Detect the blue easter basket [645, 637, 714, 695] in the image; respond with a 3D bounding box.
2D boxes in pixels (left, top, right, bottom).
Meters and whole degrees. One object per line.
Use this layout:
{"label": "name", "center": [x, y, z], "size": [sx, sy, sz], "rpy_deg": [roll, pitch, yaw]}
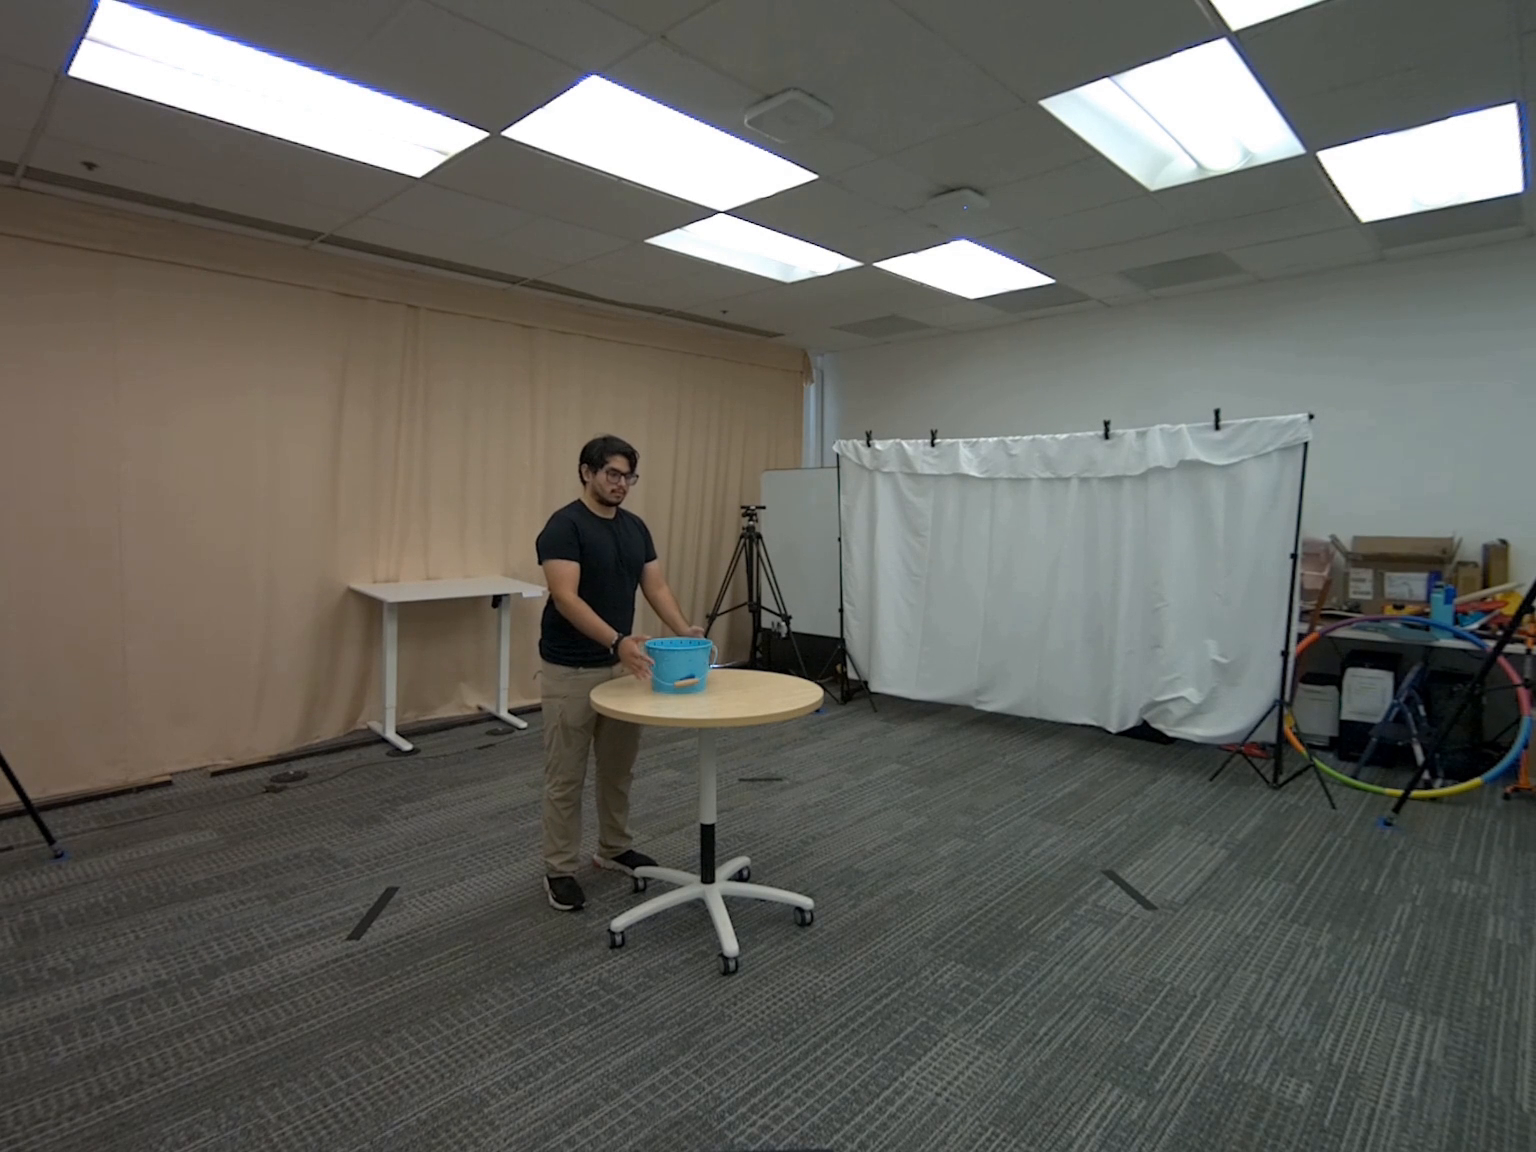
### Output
{"label": "blue easter basket", "center": [-0.301, 0.303, 2.812], "size": [0.243, 0.155, 0.244], "rpy_deg": [-2, 4, -2]}
